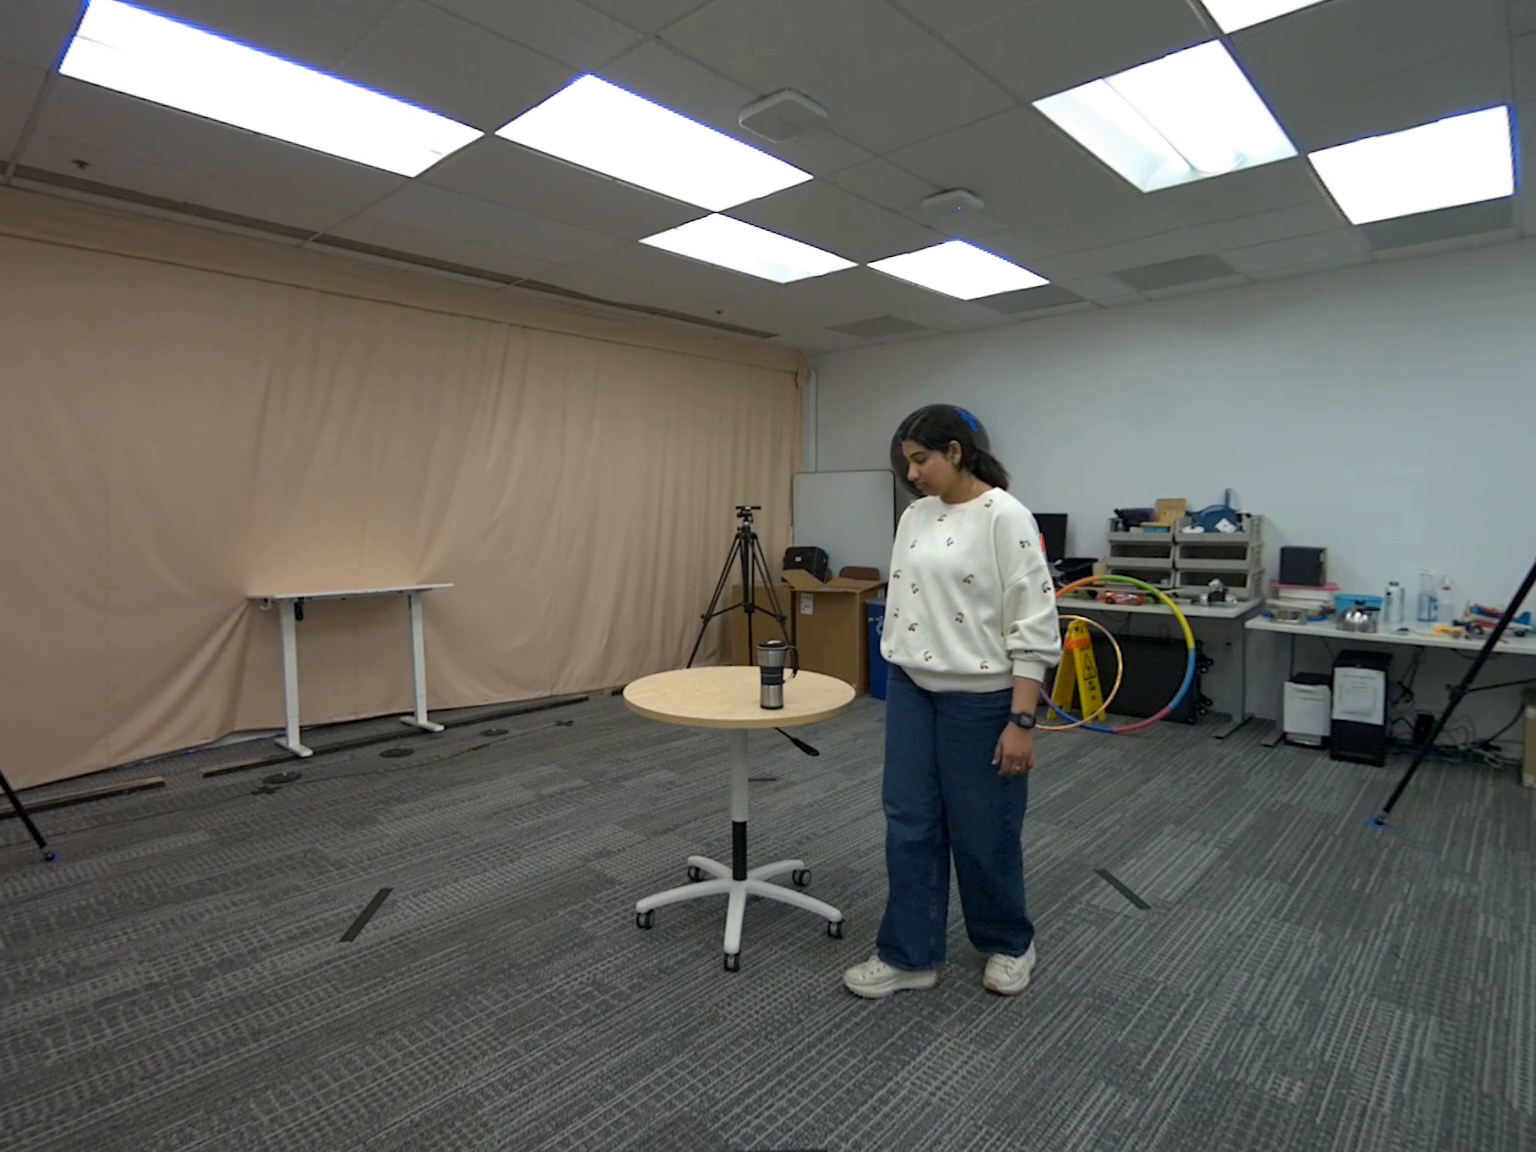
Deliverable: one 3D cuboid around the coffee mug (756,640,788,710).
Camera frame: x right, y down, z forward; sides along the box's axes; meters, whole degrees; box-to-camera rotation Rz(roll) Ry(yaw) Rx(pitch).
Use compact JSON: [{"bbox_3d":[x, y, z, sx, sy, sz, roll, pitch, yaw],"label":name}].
[{"bbox_3d":[0.033,0.302,2.542,0.085,0.203,0.126,5,-4,-45],"label":"coffee mug"}]
